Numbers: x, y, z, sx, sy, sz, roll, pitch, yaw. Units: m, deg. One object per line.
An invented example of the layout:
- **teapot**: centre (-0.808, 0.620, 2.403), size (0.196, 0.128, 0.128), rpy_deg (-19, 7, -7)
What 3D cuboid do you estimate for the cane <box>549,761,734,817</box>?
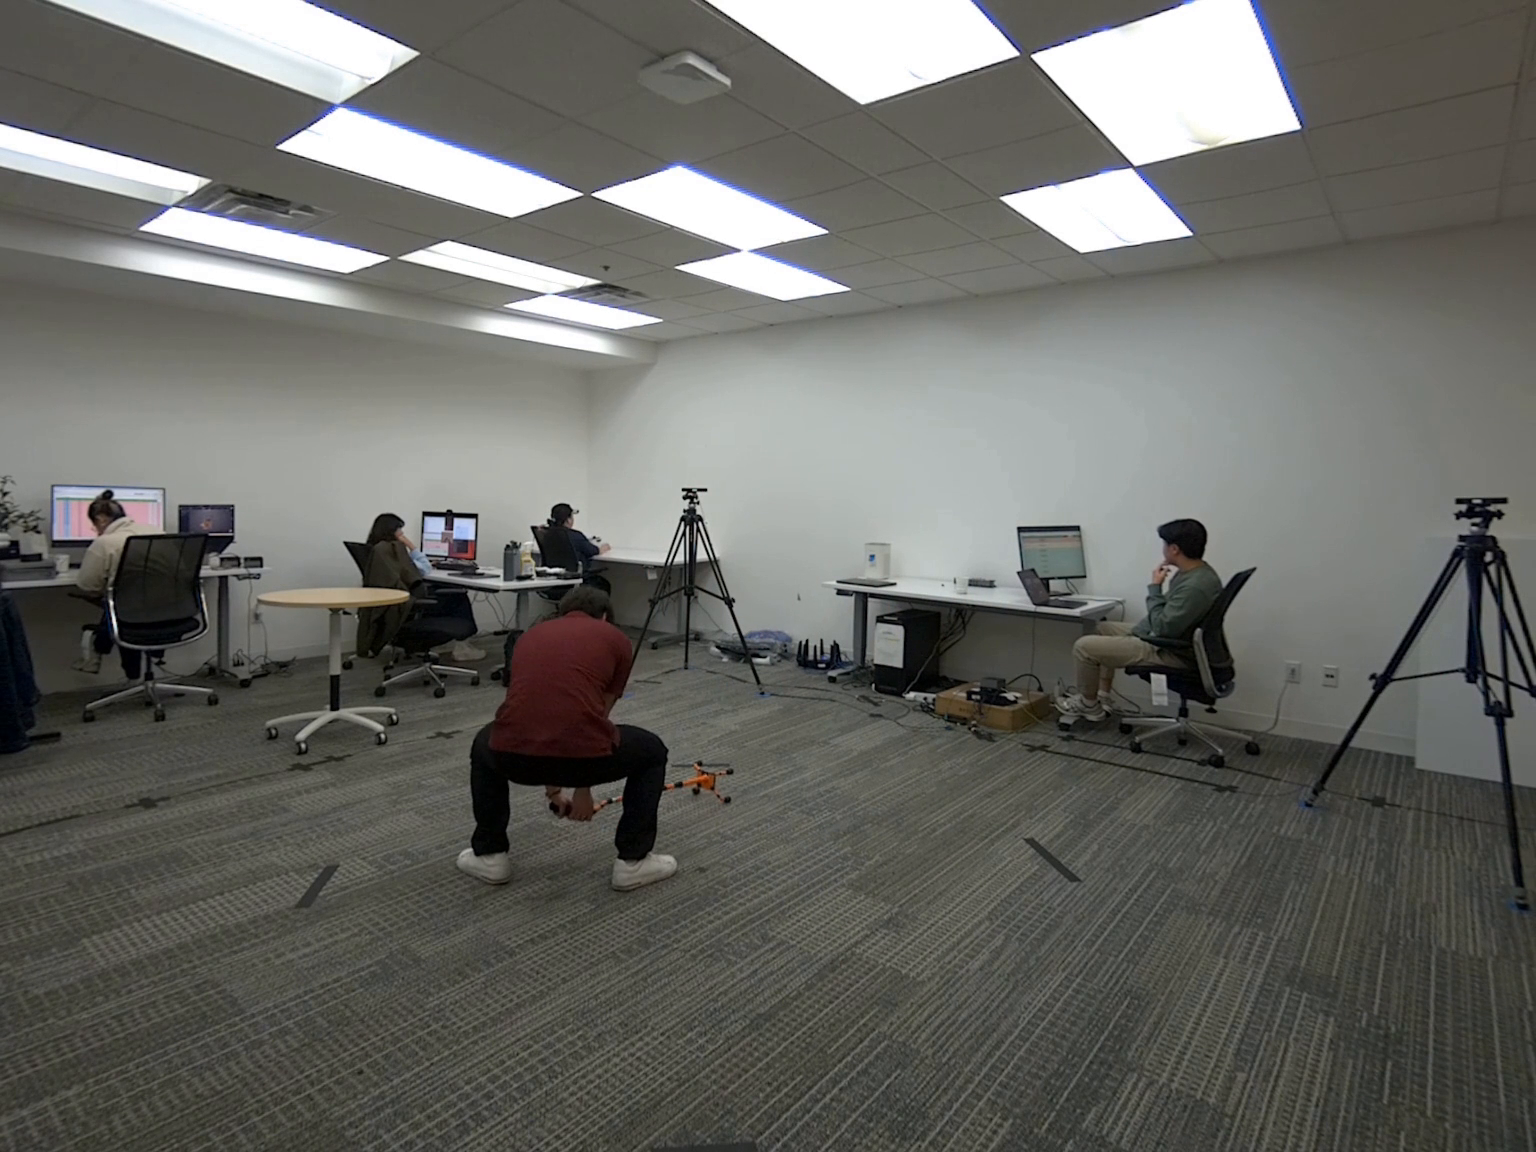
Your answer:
- **cane**: centre (-0.503, 0.905, 3.486), size (0.213, 0.151, 0.879), rpy_deg (5, 1, 36)
